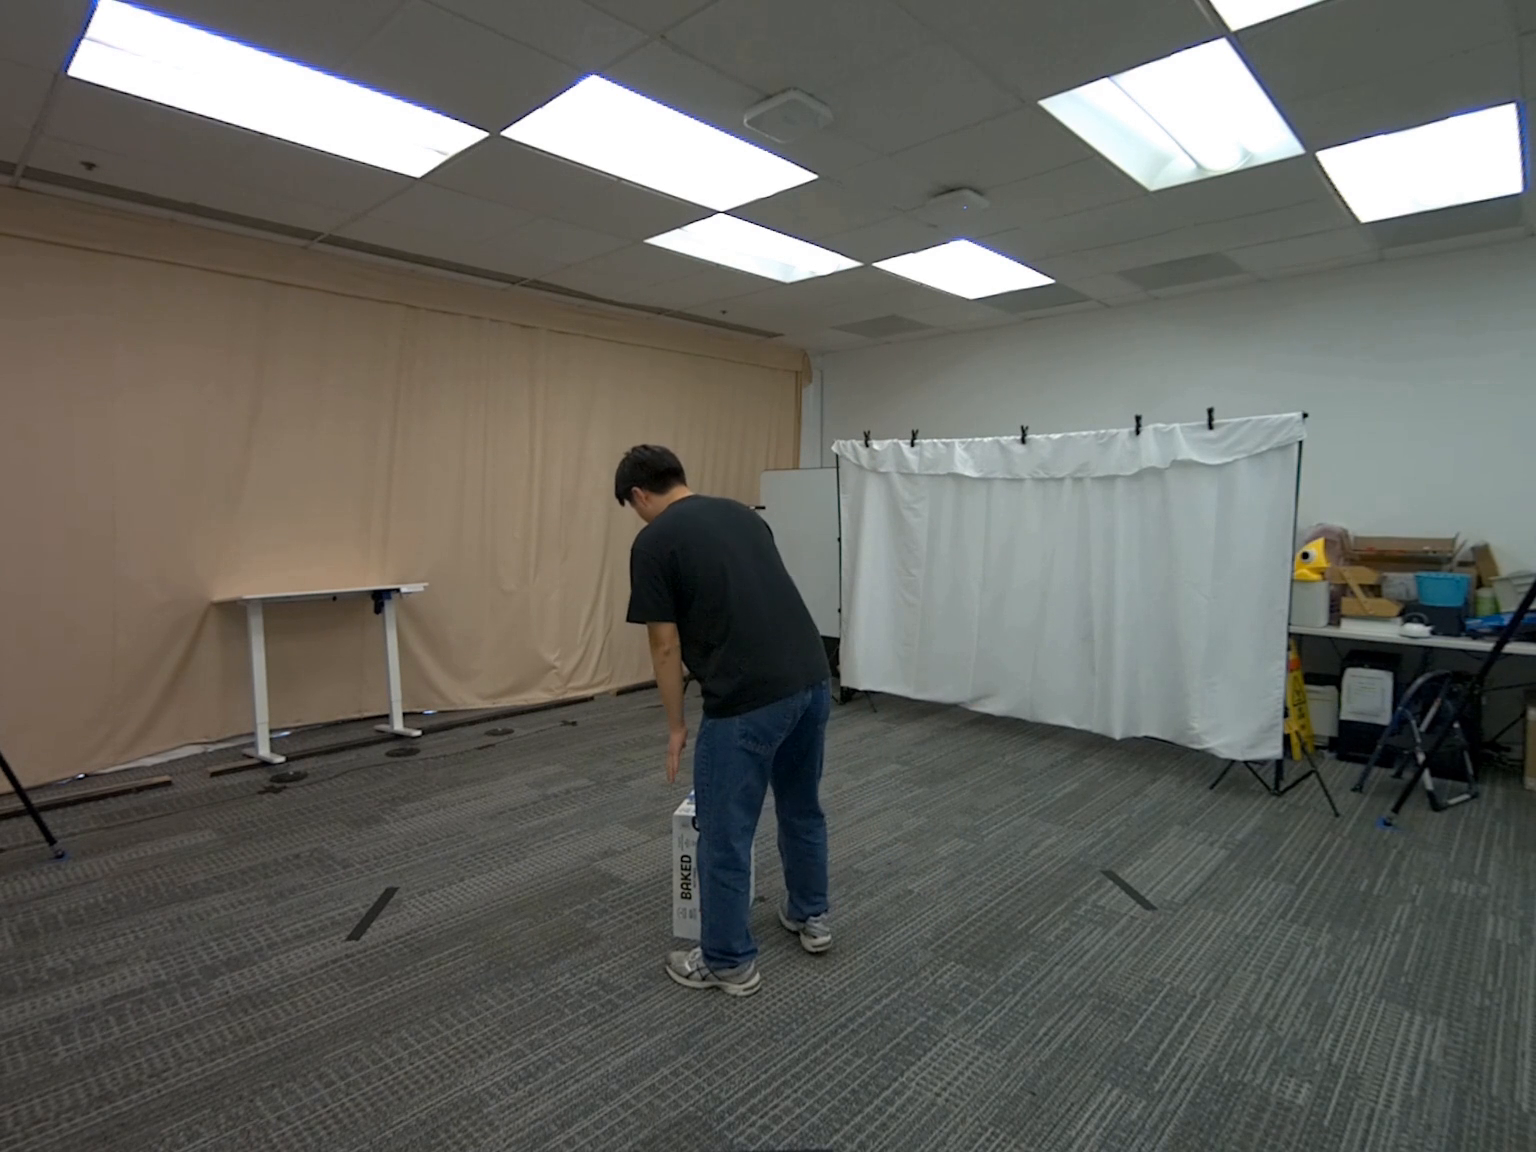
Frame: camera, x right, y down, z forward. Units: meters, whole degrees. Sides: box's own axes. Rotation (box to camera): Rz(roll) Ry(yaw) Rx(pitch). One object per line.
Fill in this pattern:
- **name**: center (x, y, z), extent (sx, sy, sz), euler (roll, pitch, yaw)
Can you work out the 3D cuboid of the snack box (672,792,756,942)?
- **snack box**: center (-0.176, 0.951, 2.850), extent (0.208, 0.404, 0.336), euler (0, 3, 11)
